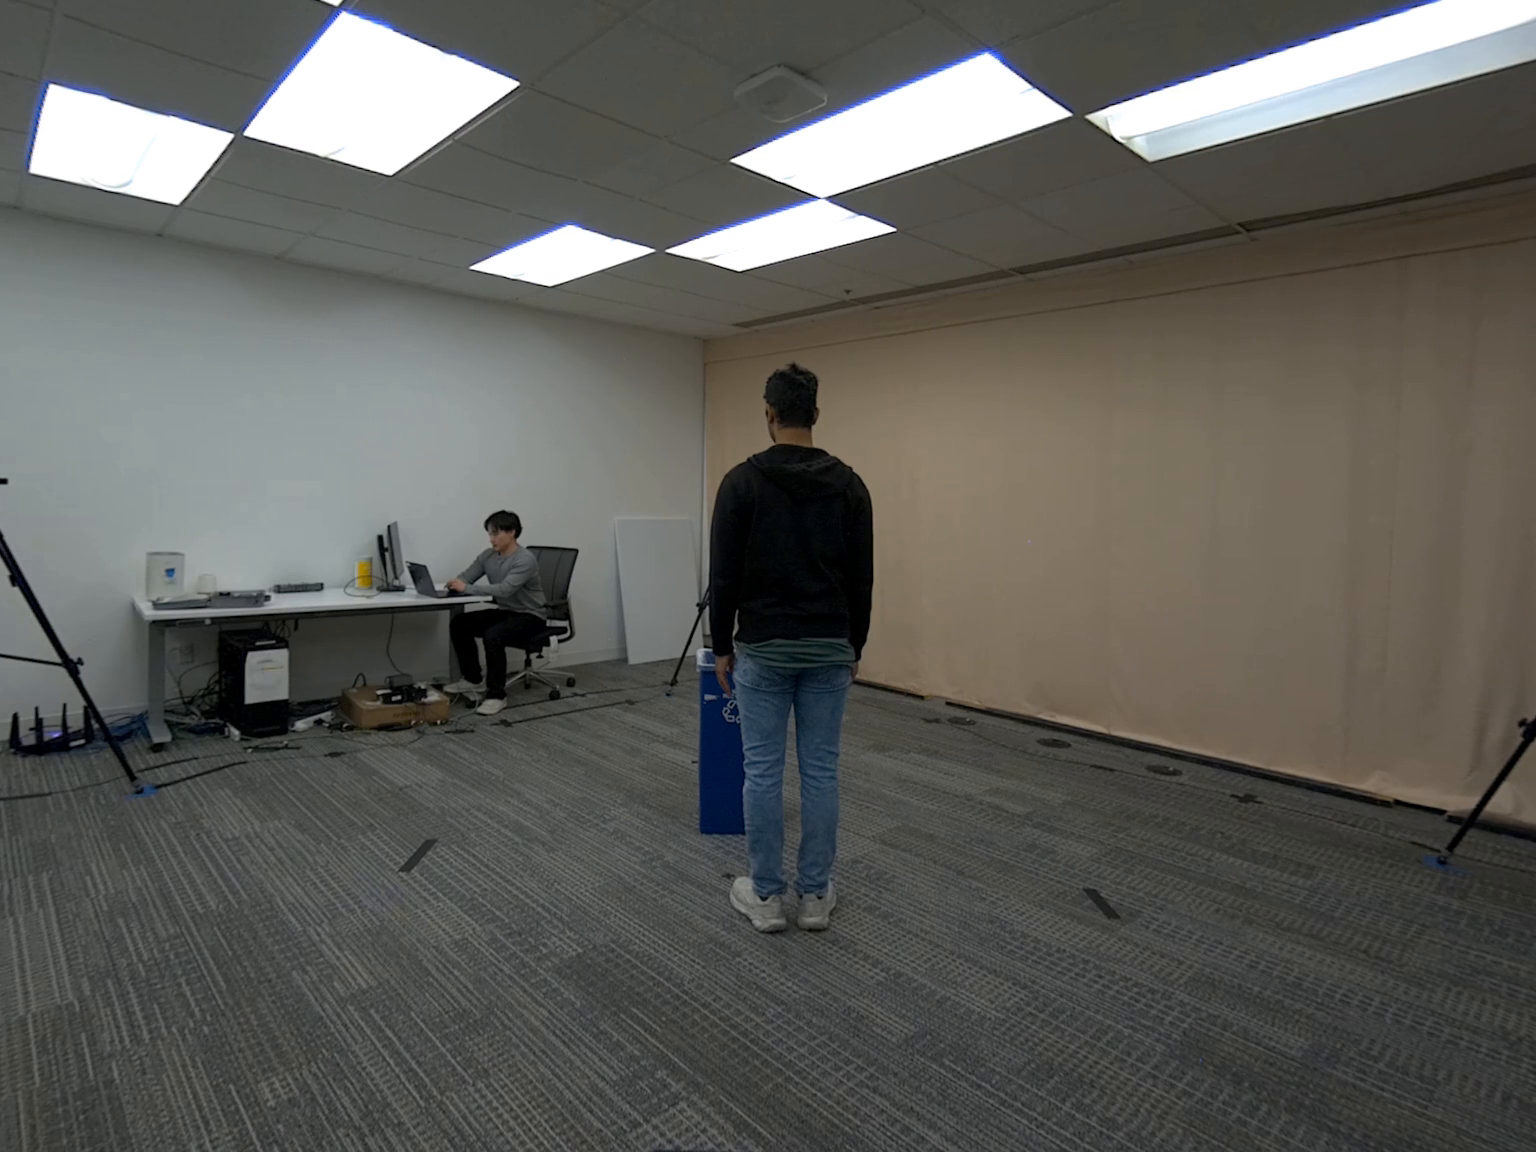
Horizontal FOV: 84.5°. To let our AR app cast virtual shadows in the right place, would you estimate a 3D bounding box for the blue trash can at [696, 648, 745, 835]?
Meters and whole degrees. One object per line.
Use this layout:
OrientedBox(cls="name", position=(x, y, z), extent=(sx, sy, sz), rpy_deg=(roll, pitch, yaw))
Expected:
OrientedBox(cls="blue trash can", position=(-0.135, 0.706, 3.622), extent=(0.377, 0.712, 0.376), rpy_deg=(2, 3, -4))
